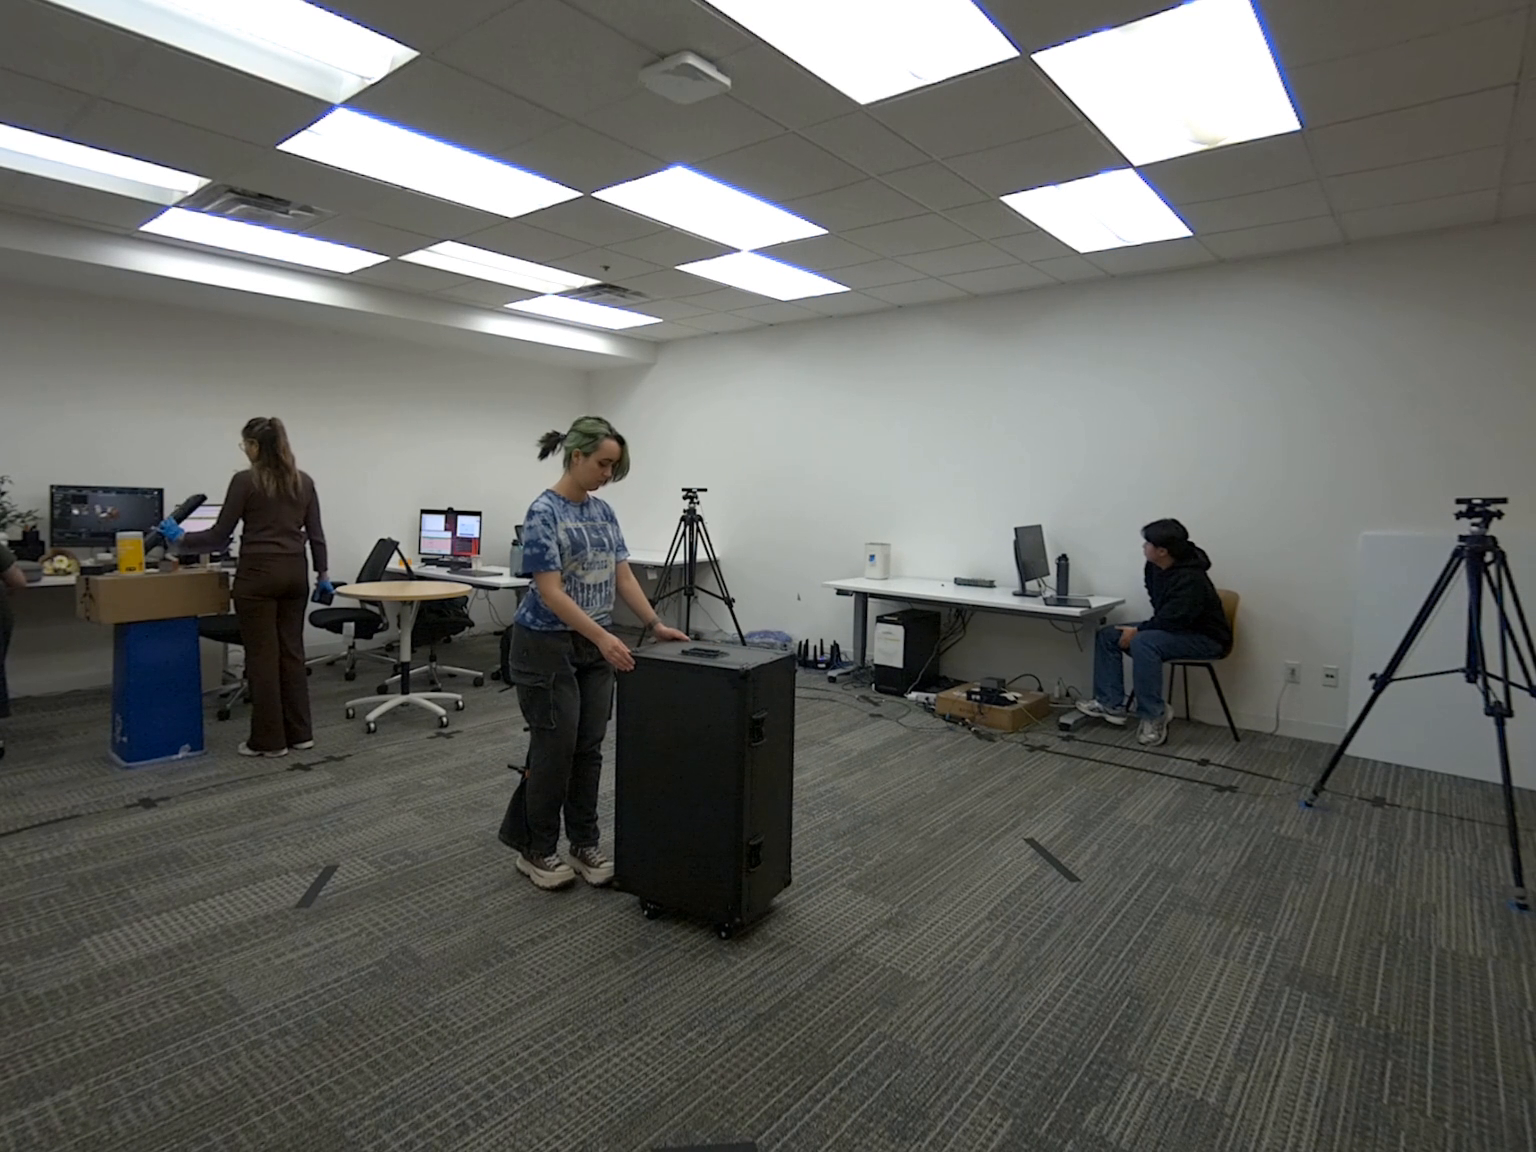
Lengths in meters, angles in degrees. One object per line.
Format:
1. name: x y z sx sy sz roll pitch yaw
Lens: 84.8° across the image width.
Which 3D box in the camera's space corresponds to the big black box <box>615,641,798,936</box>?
1. big black box: -0.210 0.675 2.805 0.536 0.860 0.386 2 2 28
